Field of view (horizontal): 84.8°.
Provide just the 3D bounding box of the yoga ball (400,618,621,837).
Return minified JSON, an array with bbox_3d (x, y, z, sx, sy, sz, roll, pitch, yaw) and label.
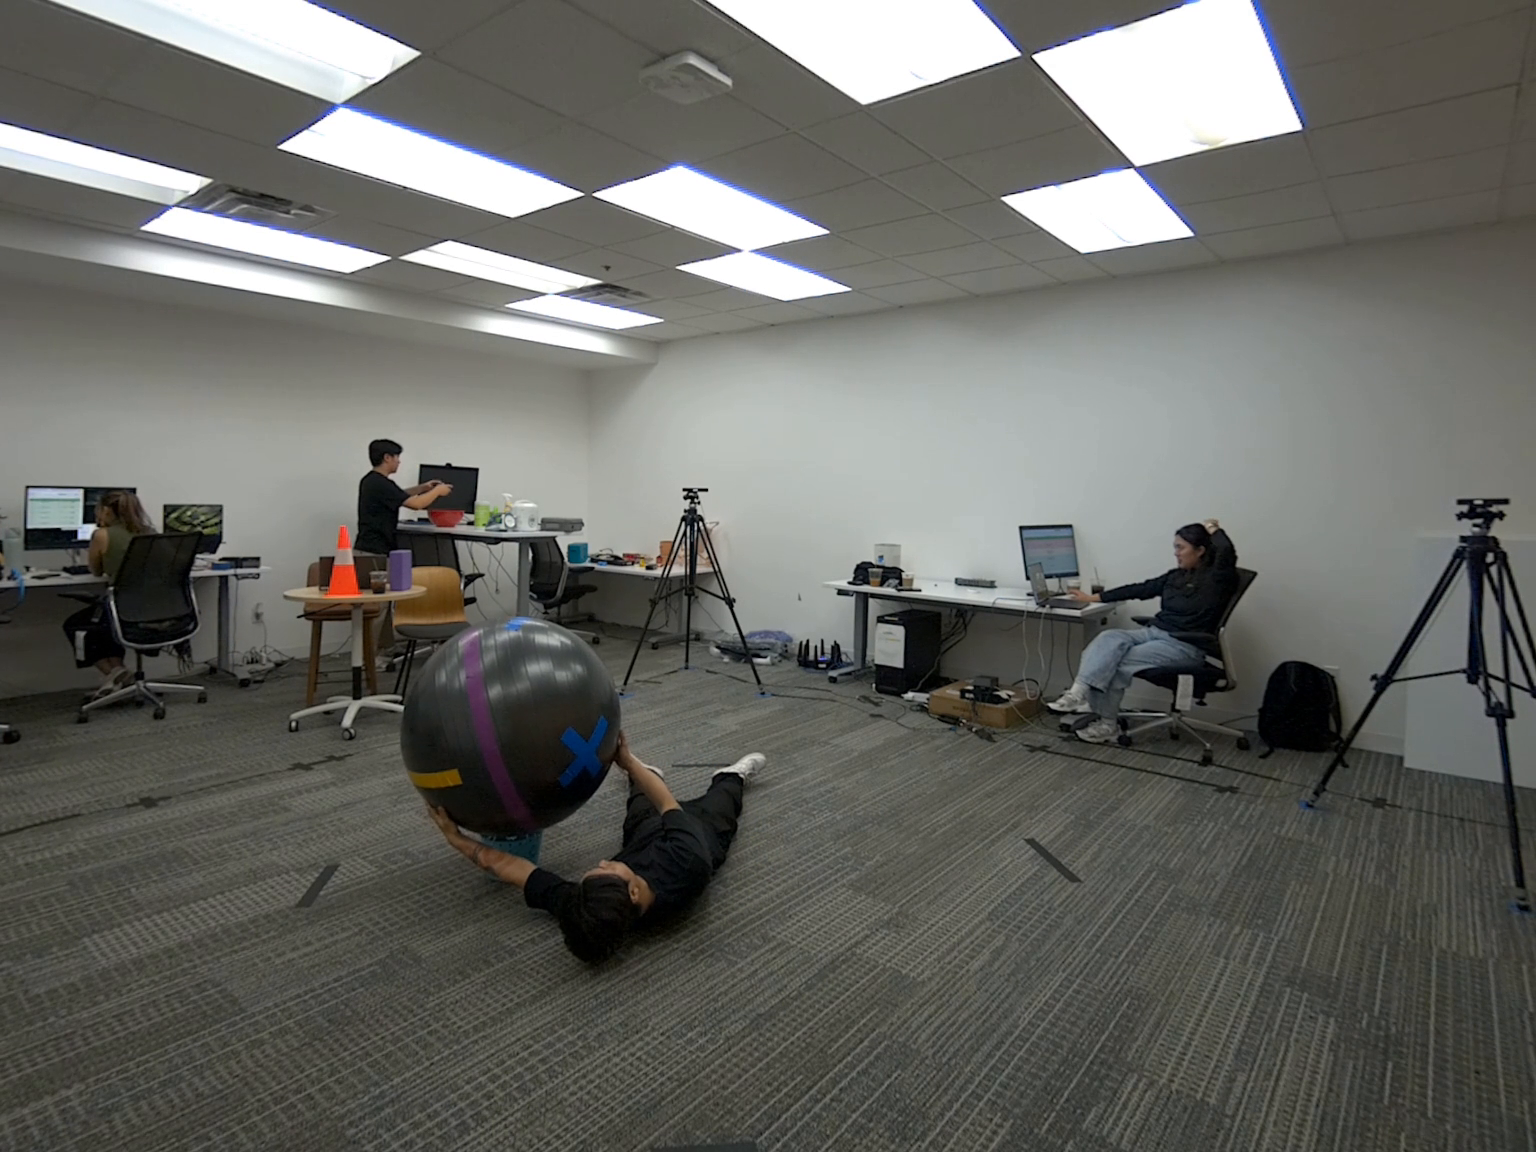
[{"bbox_3d":[-0.912,0.527,3.029,0.757,0.755,0.762,1,4,-2],"label":"yoga ball"}]
